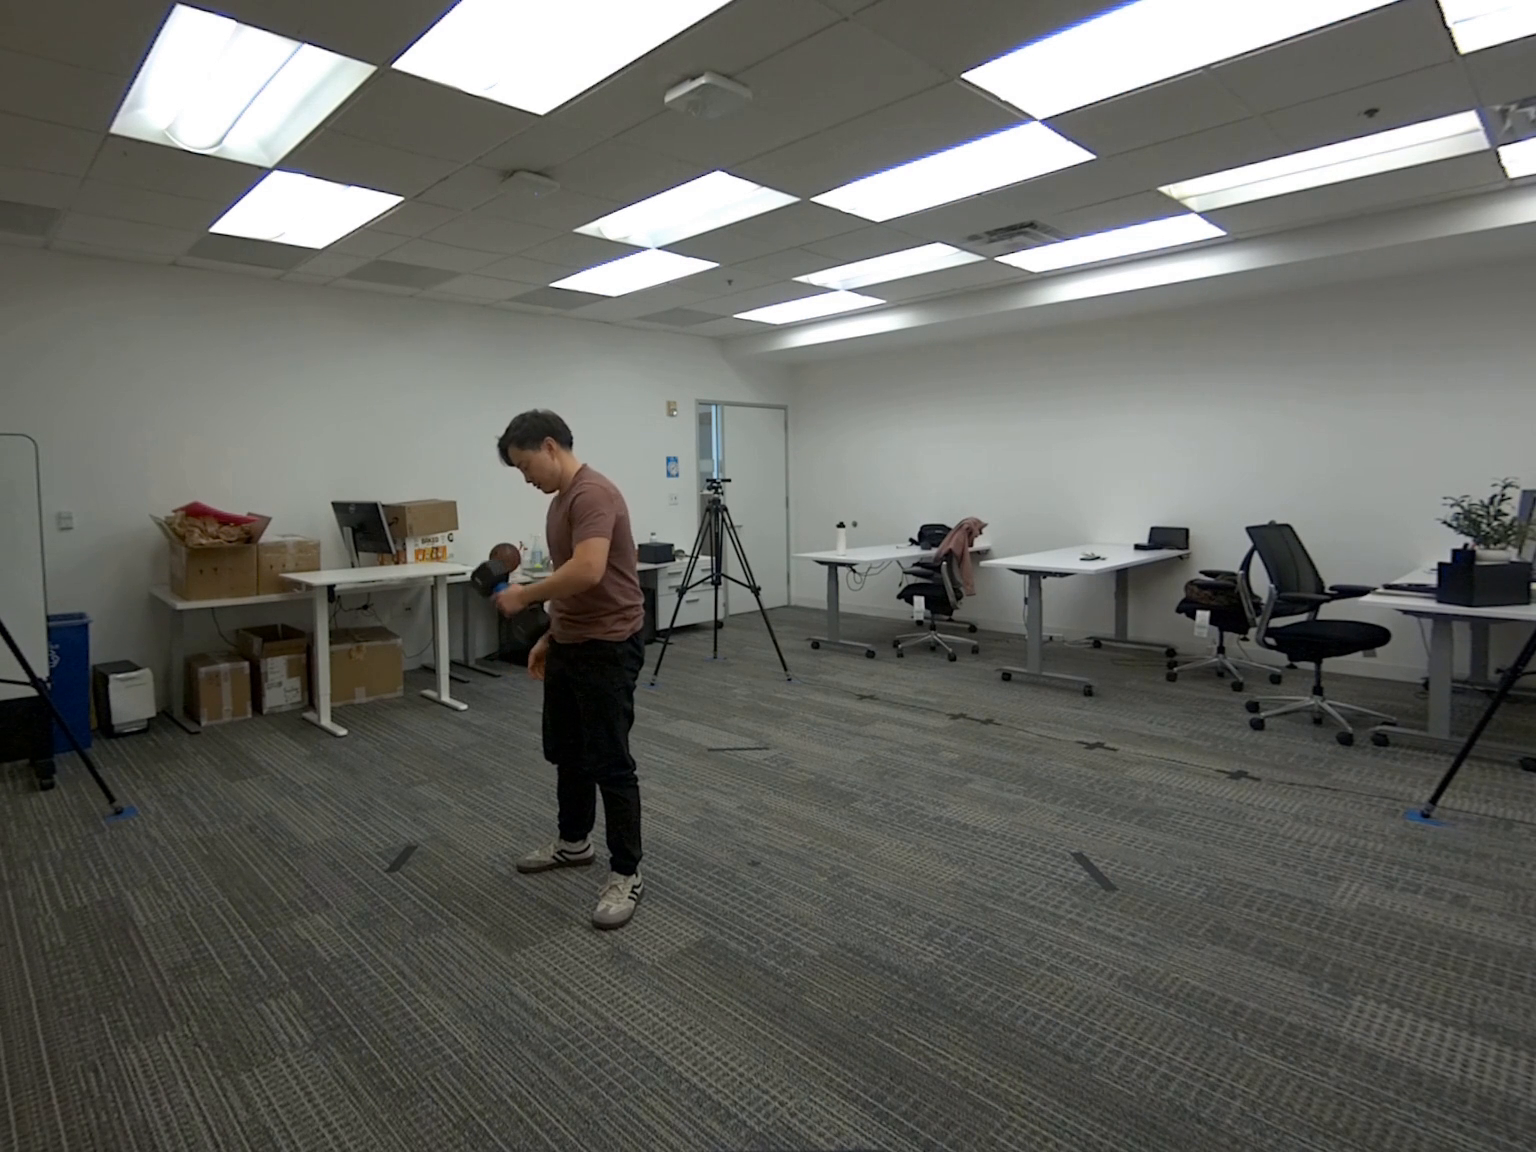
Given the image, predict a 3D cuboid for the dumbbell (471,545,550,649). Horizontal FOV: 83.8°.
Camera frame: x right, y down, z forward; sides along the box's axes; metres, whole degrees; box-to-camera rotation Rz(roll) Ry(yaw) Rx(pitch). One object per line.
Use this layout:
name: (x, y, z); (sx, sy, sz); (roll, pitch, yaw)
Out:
dumbbell: (-0.816, 0.086, 2.729); (0.123, 0.298, 0.107); (-42, -11, -2)
